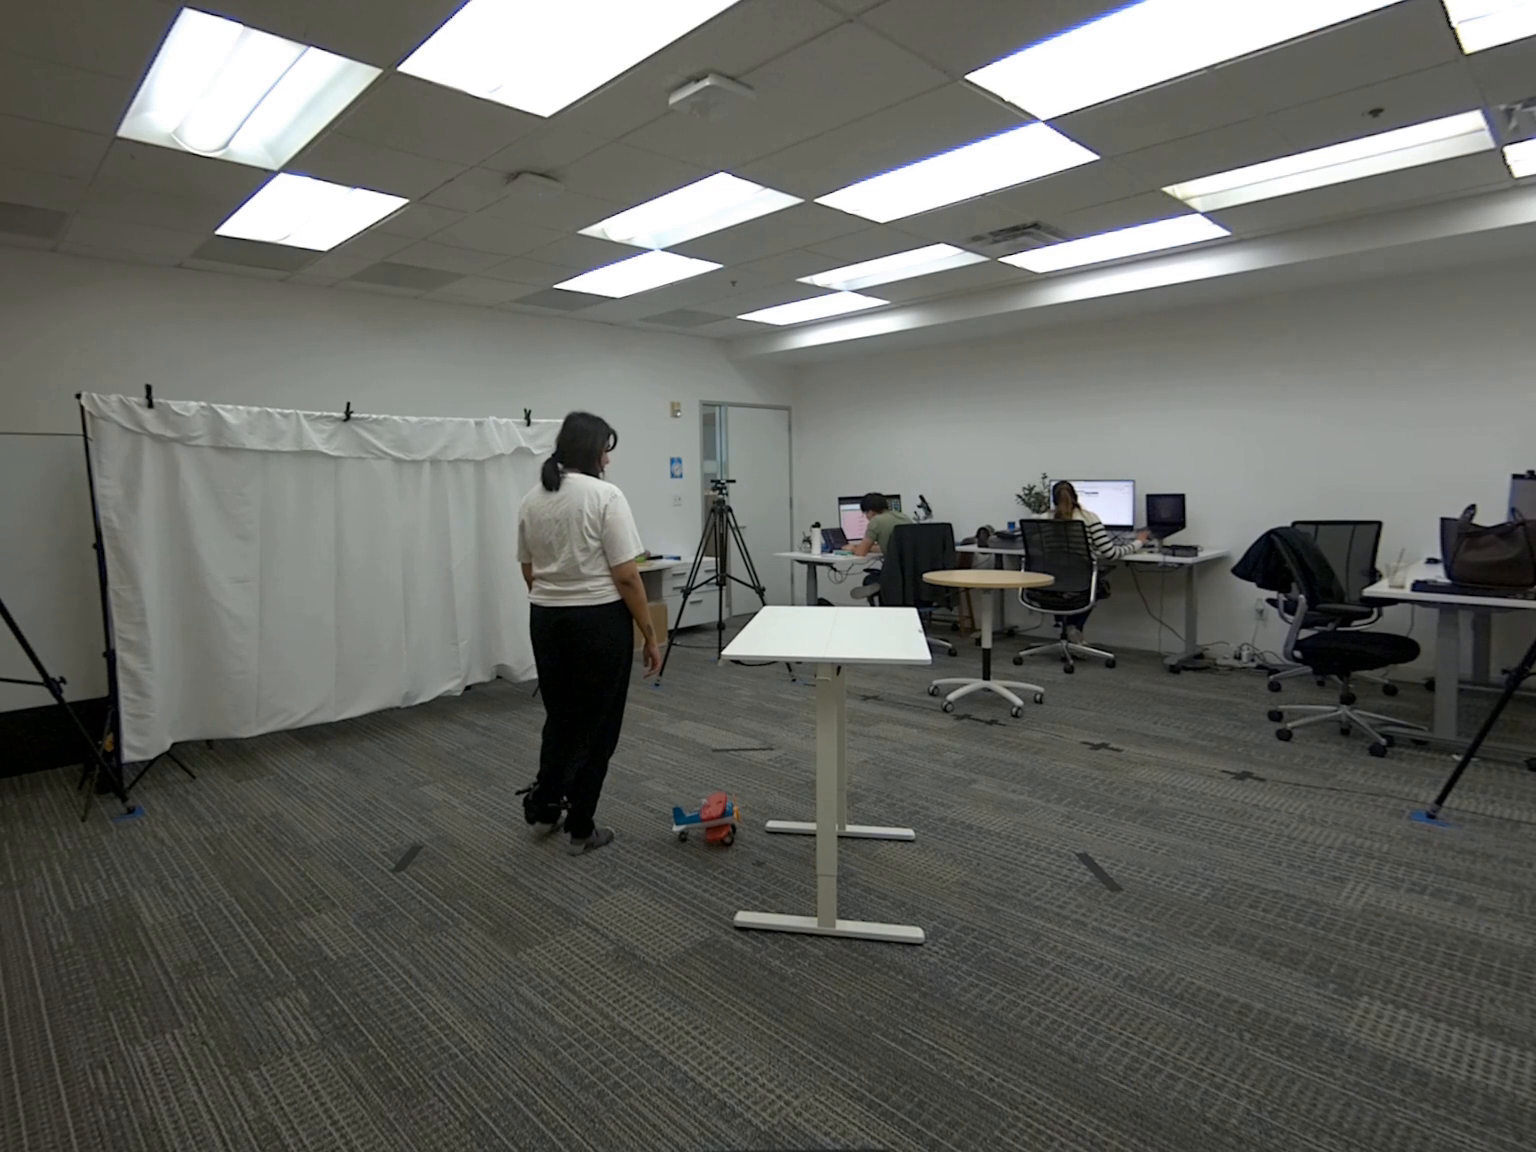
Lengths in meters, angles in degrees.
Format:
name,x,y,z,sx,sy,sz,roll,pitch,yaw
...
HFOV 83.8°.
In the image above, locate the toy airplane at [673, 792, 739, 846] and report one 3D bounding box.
name,x,y,z,sx,sy,sz,roll,pitch,yaw
toy airplane,-0.238,0.951,3.287,0.254,0.156,0.257,-2,5,-25
